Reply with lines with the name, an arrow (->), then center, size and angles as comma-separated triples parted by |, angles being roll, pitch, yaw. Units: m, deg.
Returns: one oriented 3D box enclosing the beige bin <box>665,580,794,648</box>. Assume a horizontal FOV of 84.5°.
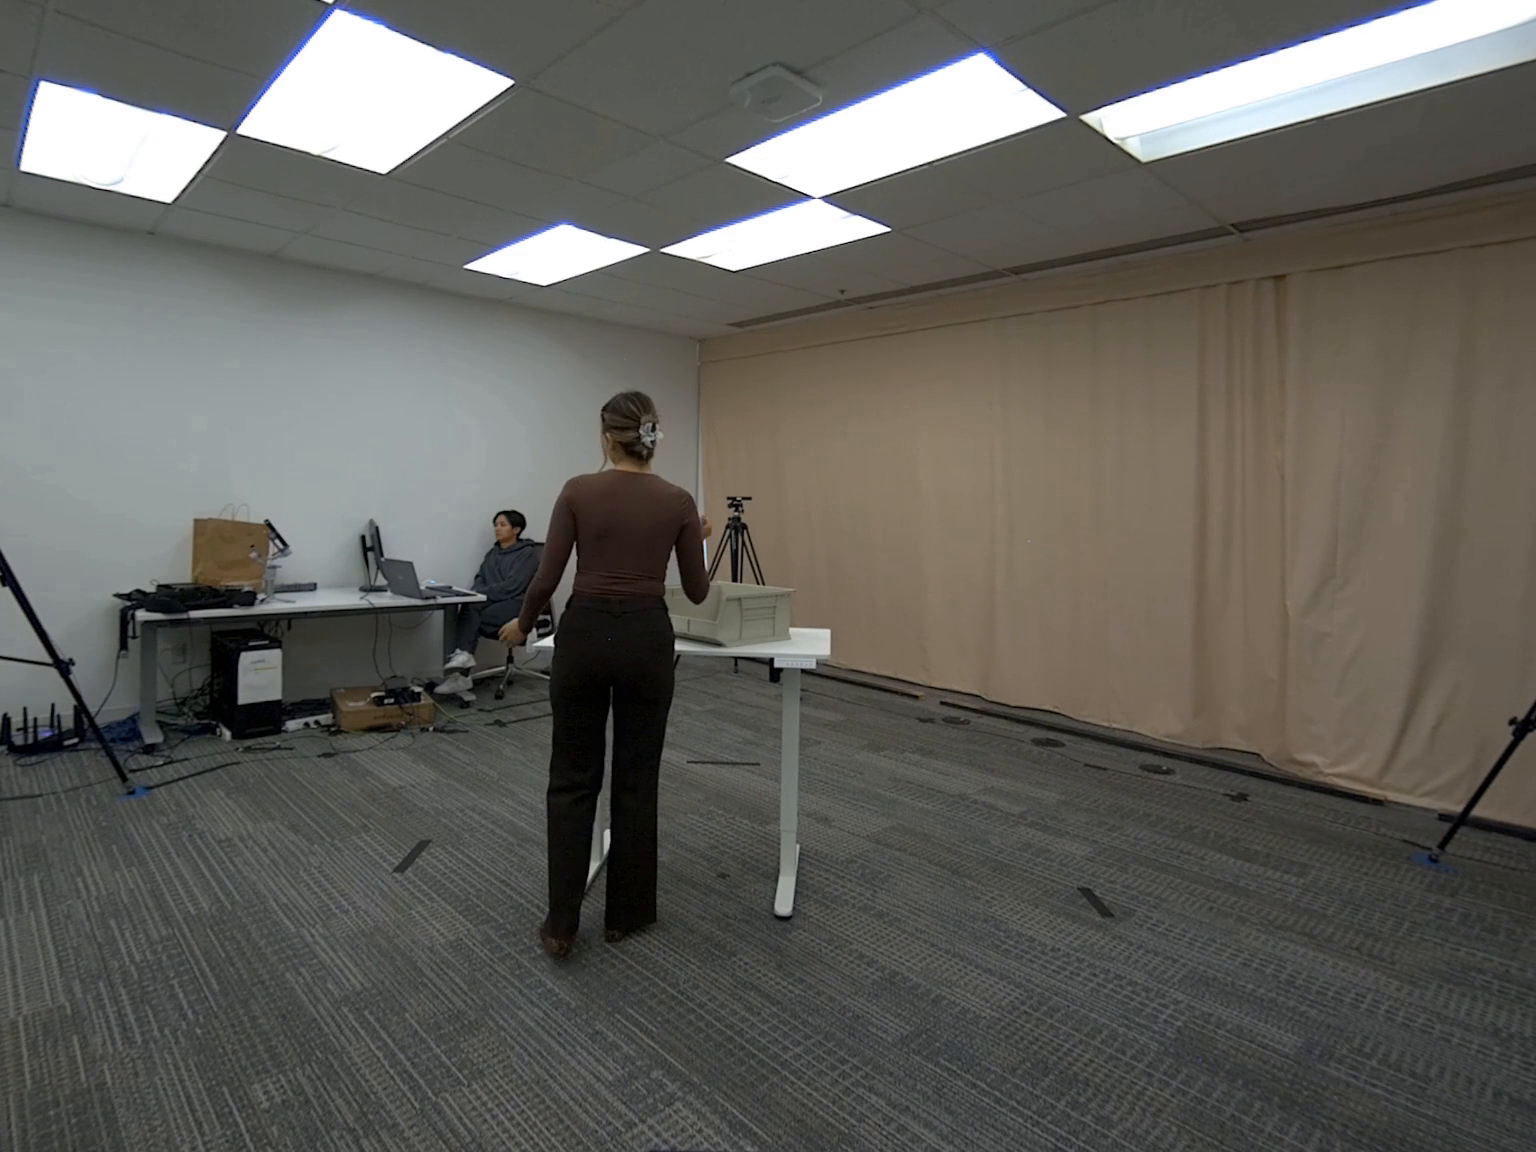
beige bin -> -0.187, 0.136, 3.070 | 0.368, 0.189, 0.433 | -2, 4, -44
